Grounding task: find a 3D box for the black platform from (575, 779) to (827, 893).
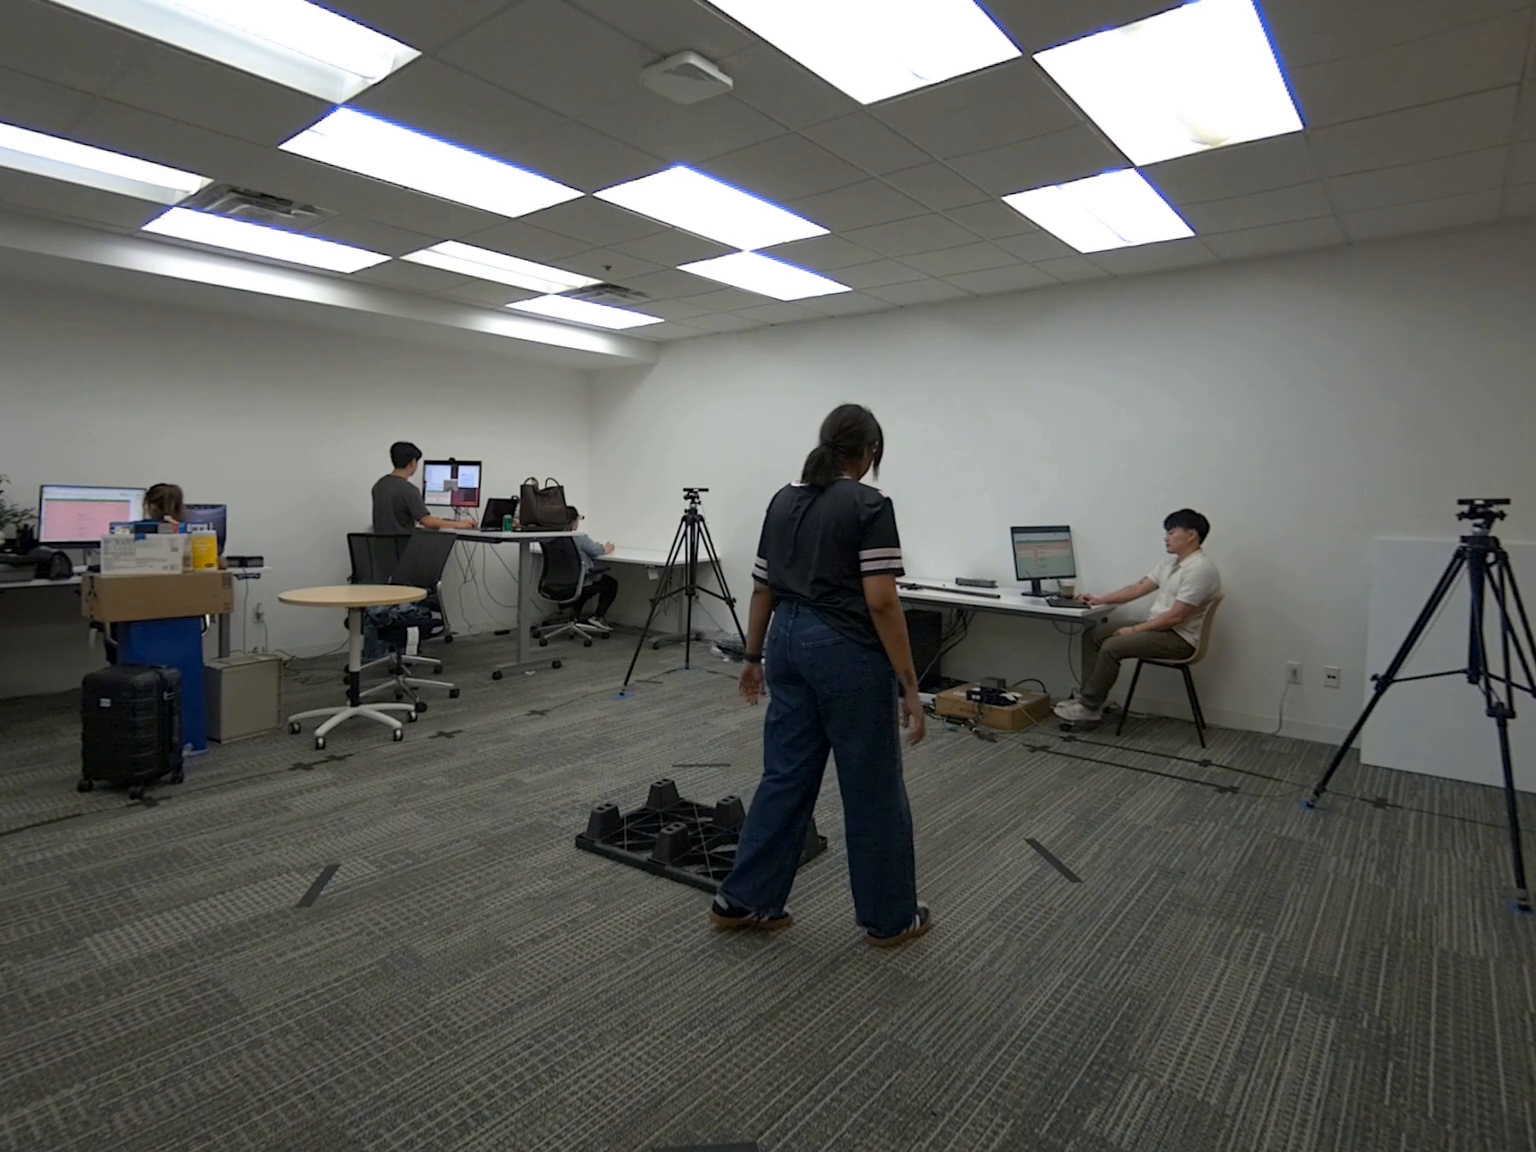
[{"bbox_3d":[-0.262,0.985,3.302,0.831,0.143,0.589,5,7,33],"label":"black platform"}]
